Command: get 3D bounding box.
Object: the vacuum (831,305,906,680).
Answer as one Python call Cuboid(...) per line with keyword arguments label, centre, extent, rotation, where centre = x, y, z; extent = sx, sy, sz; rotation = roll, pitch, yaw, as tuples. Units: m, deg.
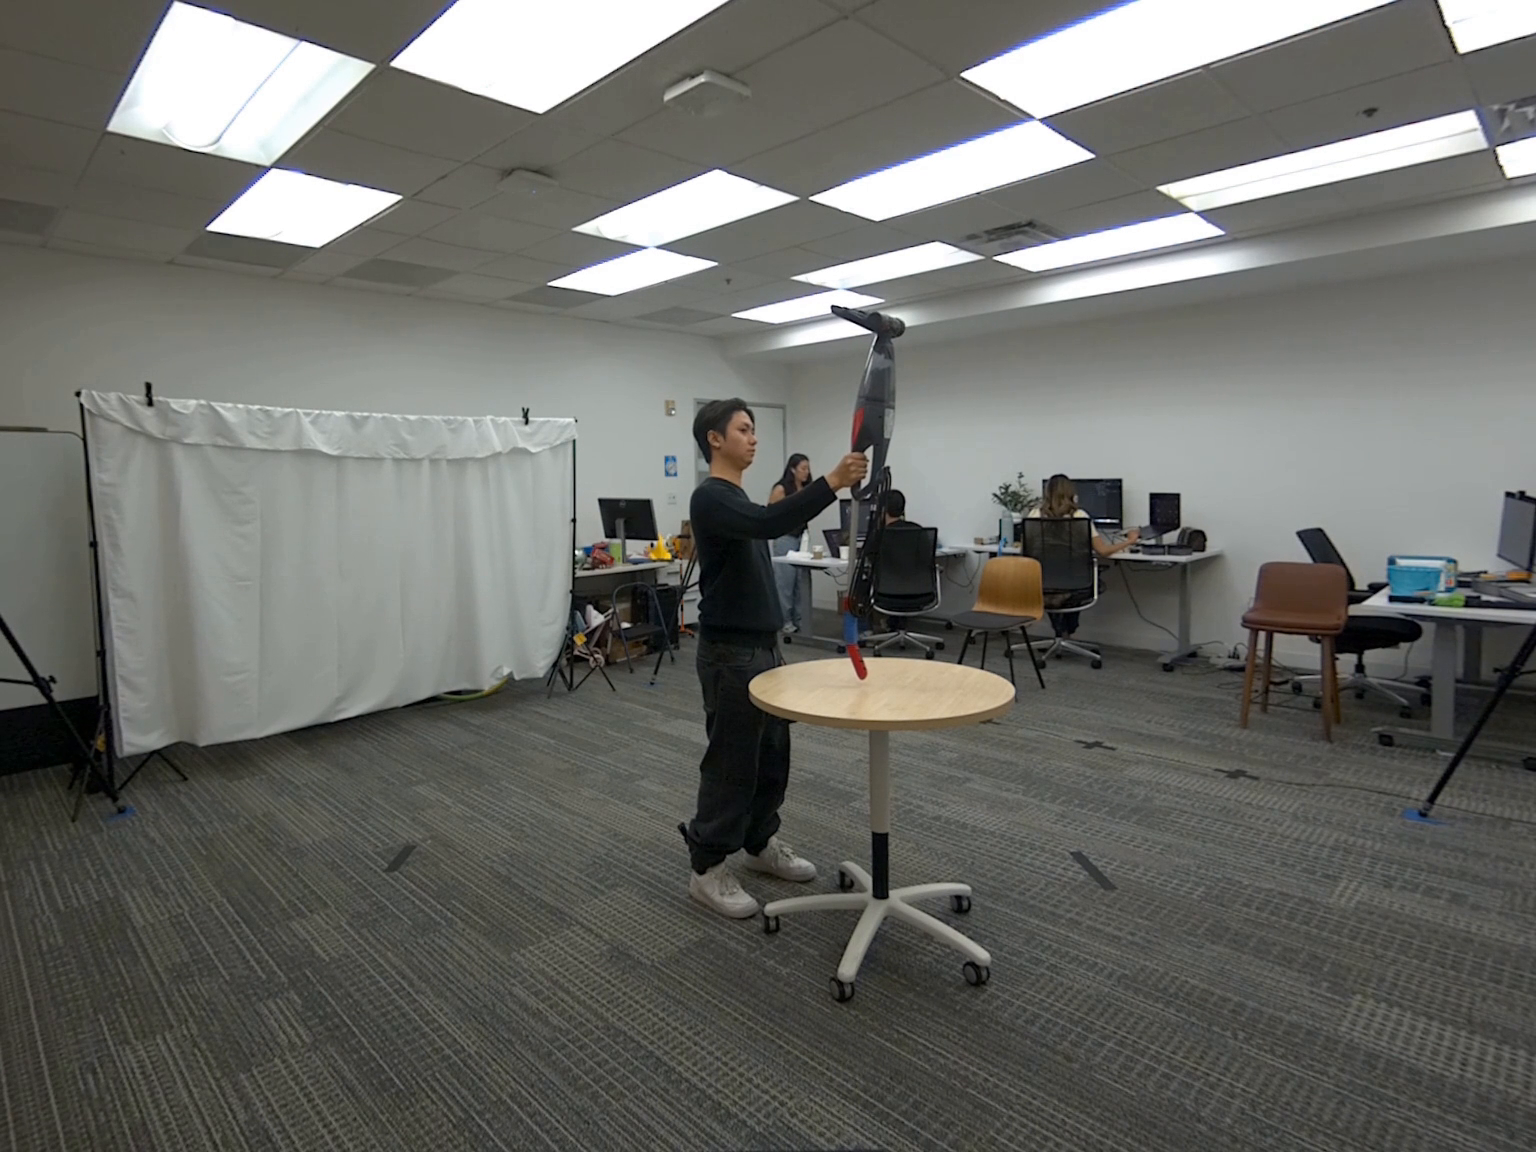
Cuboid(label="vacuum", centre=(0.303, -0.227, 2.459), extent=(0.148, 1.047, 0.245), rotation=(2, 3, 40))
